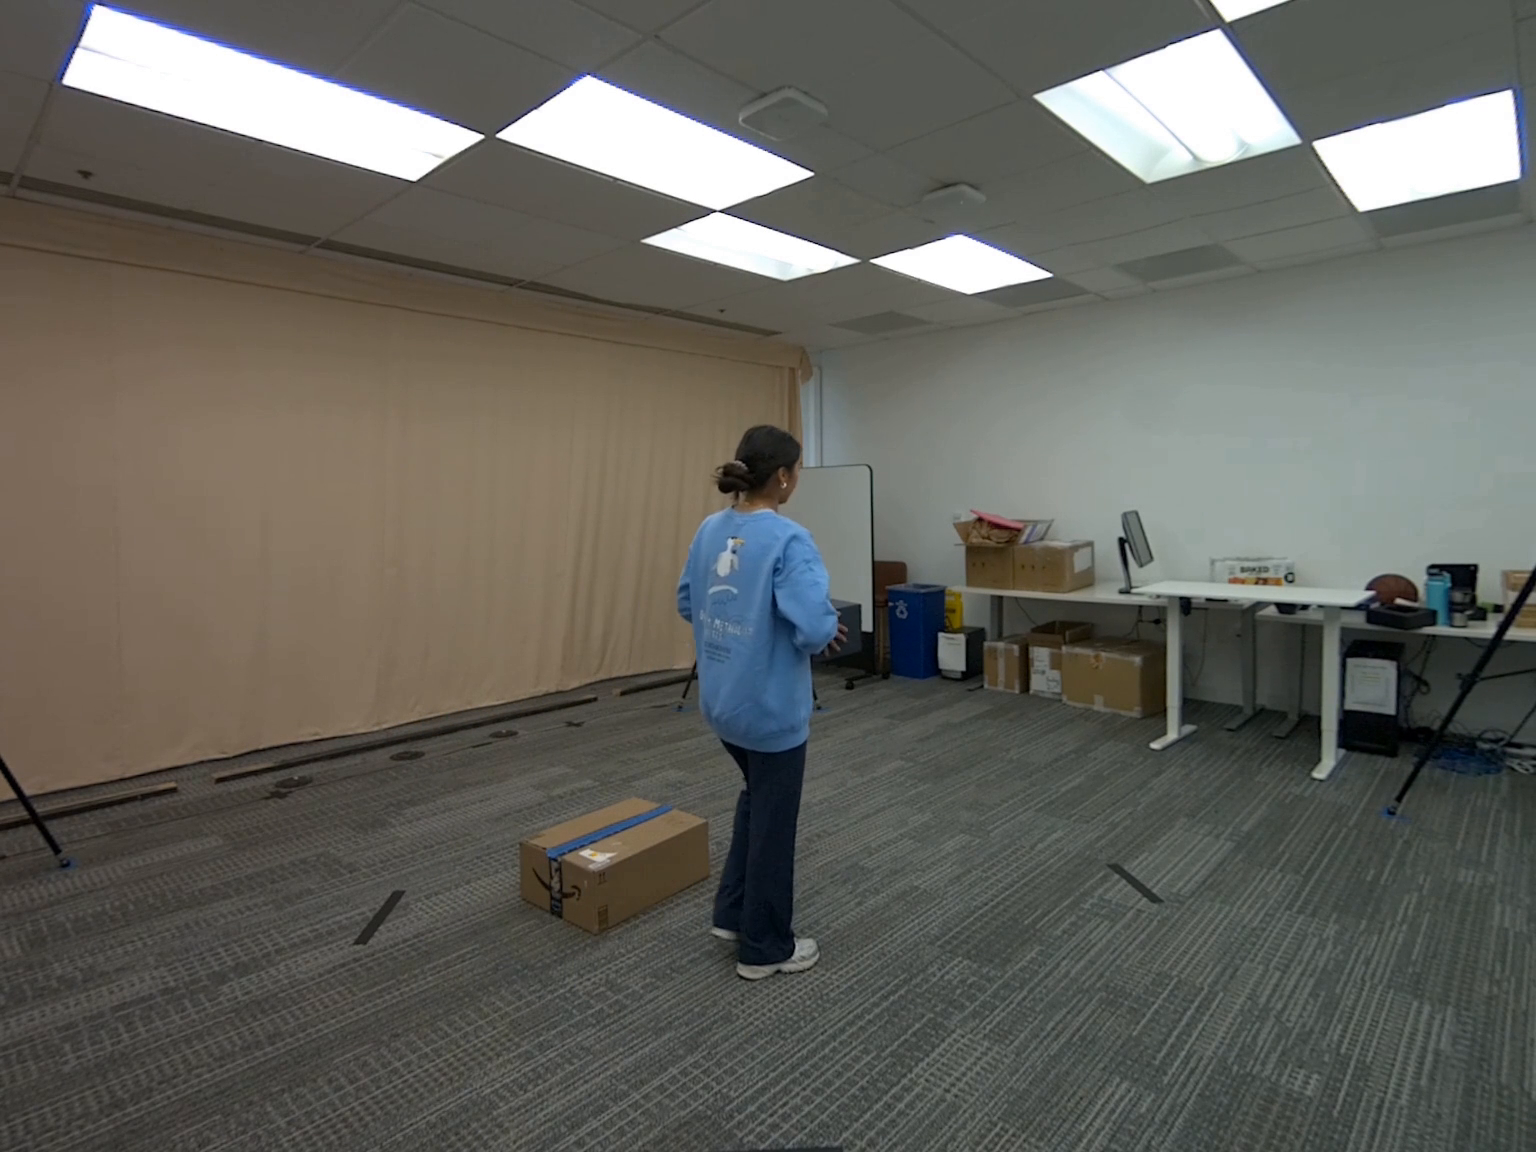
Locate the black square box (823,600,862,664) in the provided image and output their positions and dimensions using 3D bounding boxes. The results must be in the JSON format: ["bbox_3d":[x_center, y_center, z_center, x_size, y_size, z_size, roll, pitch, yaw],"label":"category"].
[{"bbox_3d":[0.151,0.169,2.686,0.221,0.155,0.224,-8,11,-42],"label":"black square box"}]
